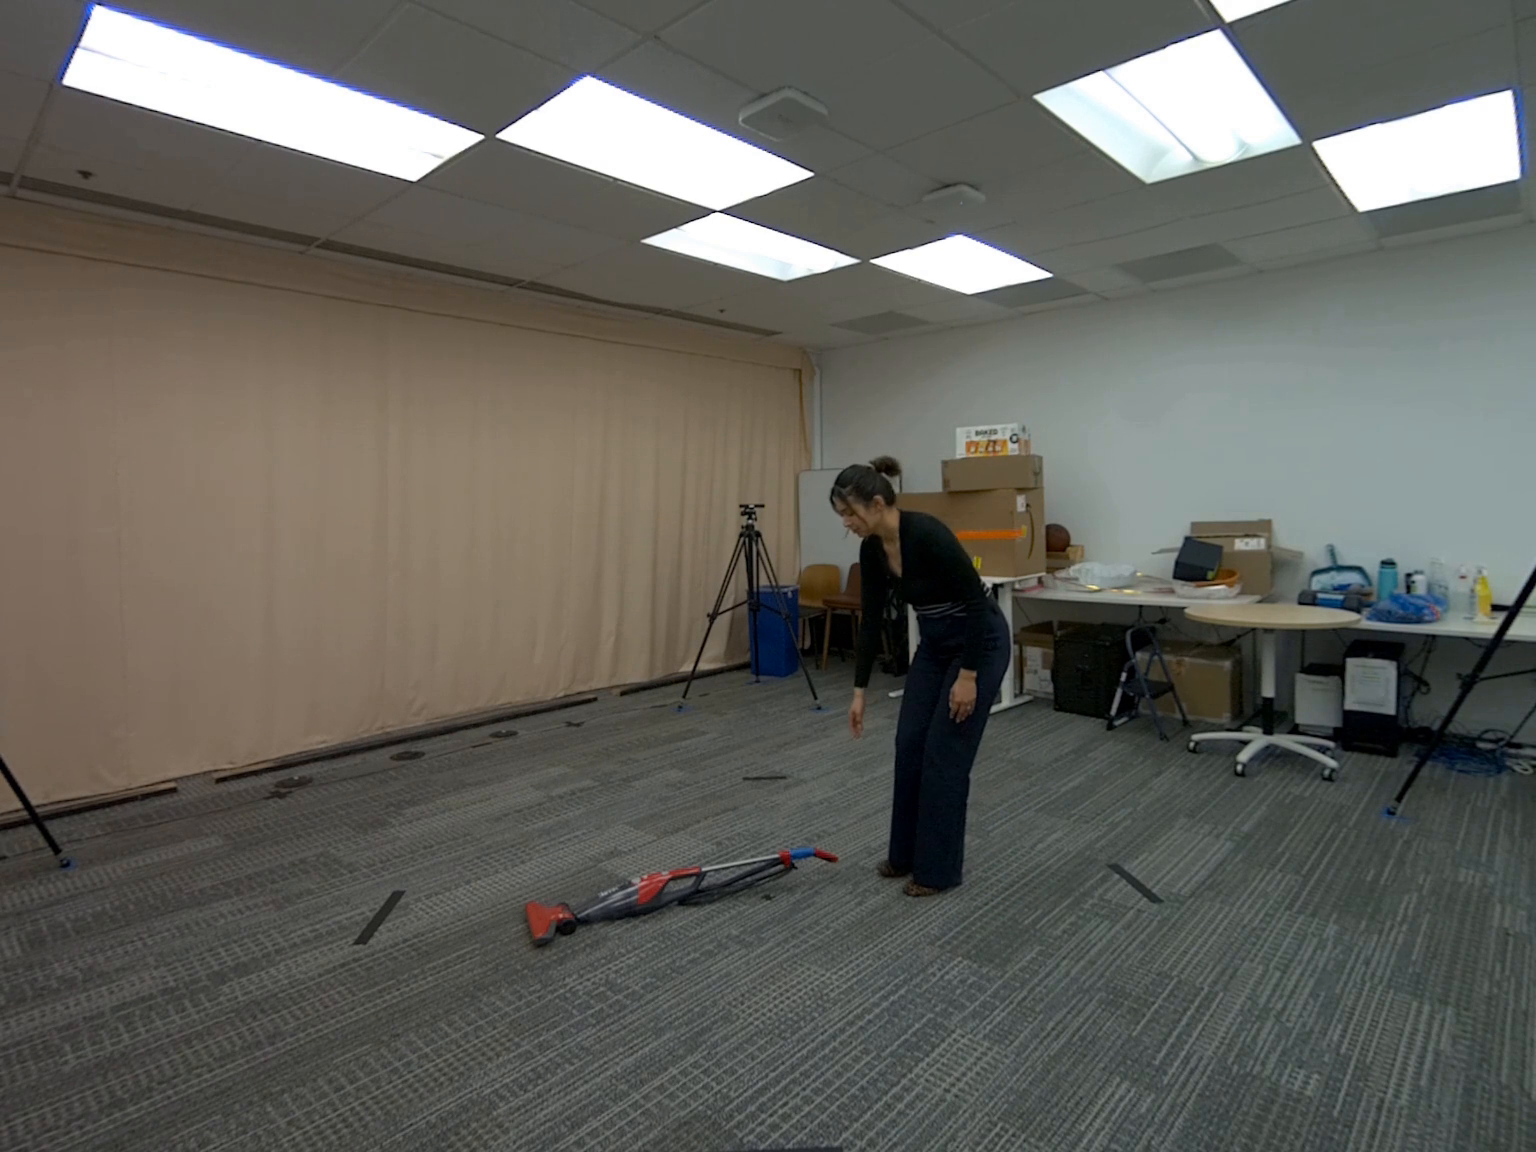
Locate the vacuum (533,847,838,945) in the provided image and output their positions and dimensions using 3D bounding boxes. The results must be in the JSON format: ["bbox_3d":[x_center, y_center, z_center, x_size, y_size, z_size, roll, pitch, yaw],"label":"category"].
[{"bbox_3d":[-0.243,1.090,2.961,1.030,0.143,0.259,-4,9,-19],"label":"vacuum"}]
